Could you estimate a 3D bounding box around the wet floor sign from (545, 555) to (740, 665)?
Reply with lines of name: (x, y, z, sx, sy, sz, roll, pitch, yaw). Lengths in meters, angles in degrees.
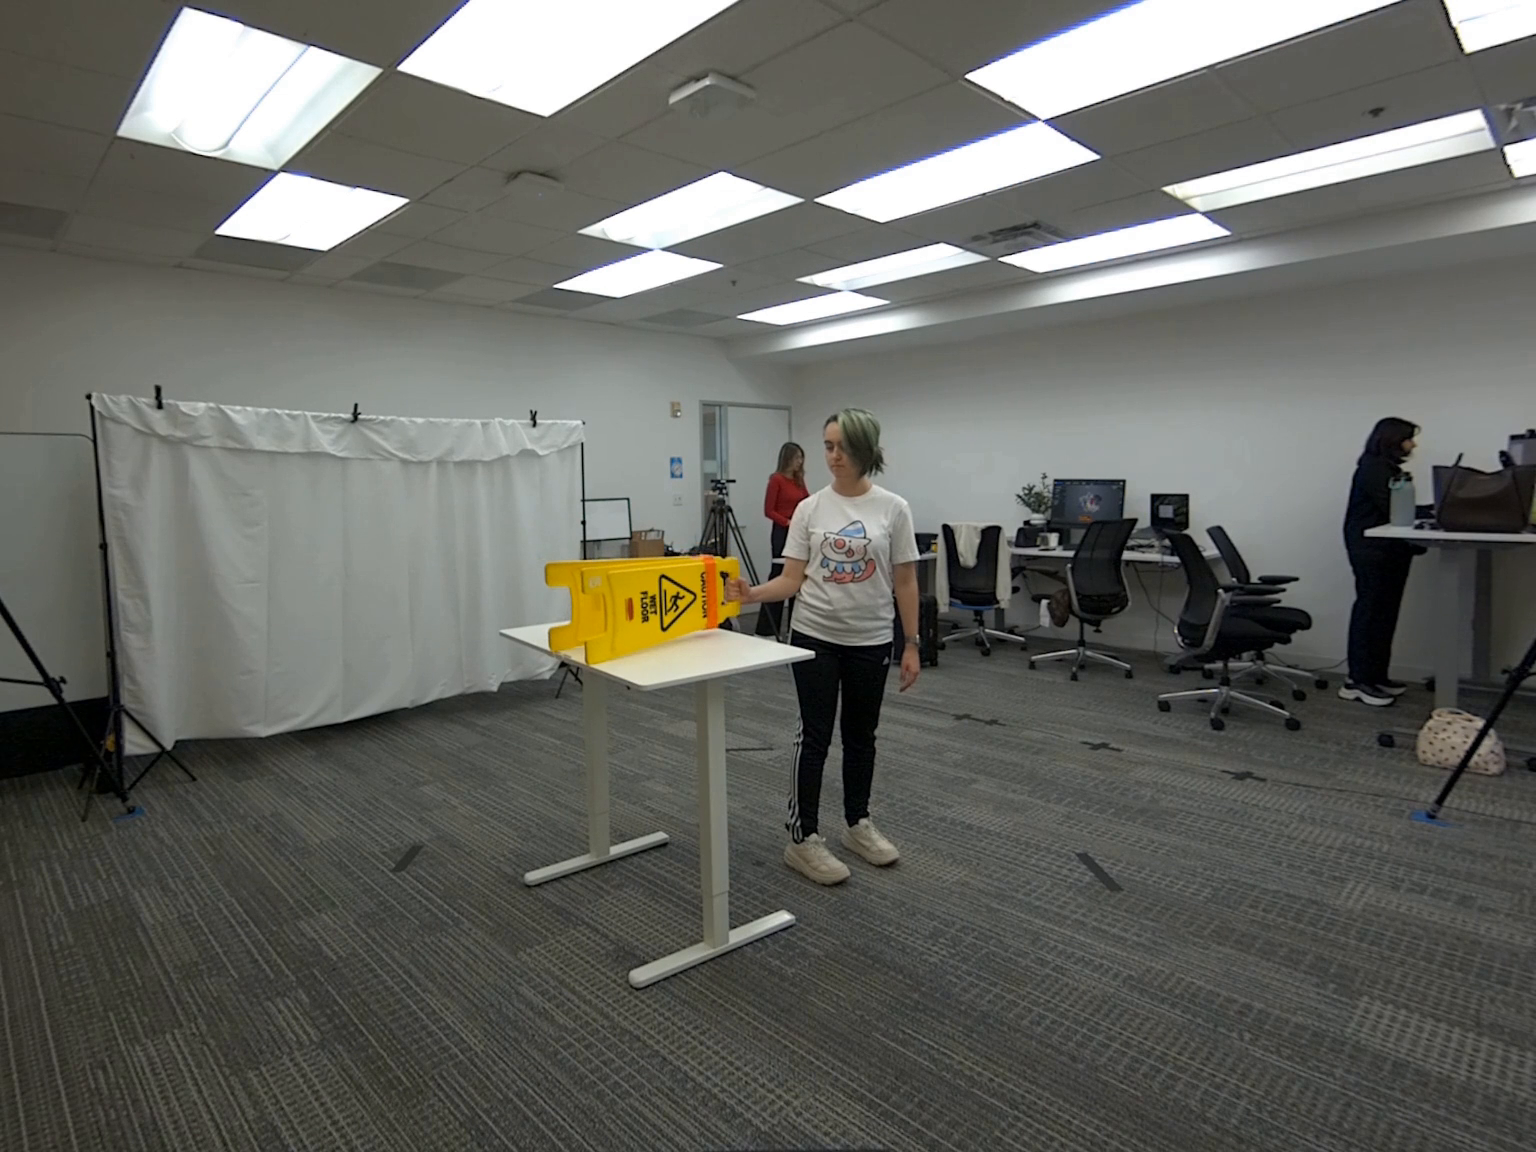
wet floor sign: (-0.350, 0.073, 2.719, 0.630, 0.280, 0.299, -8, 9, -37)
